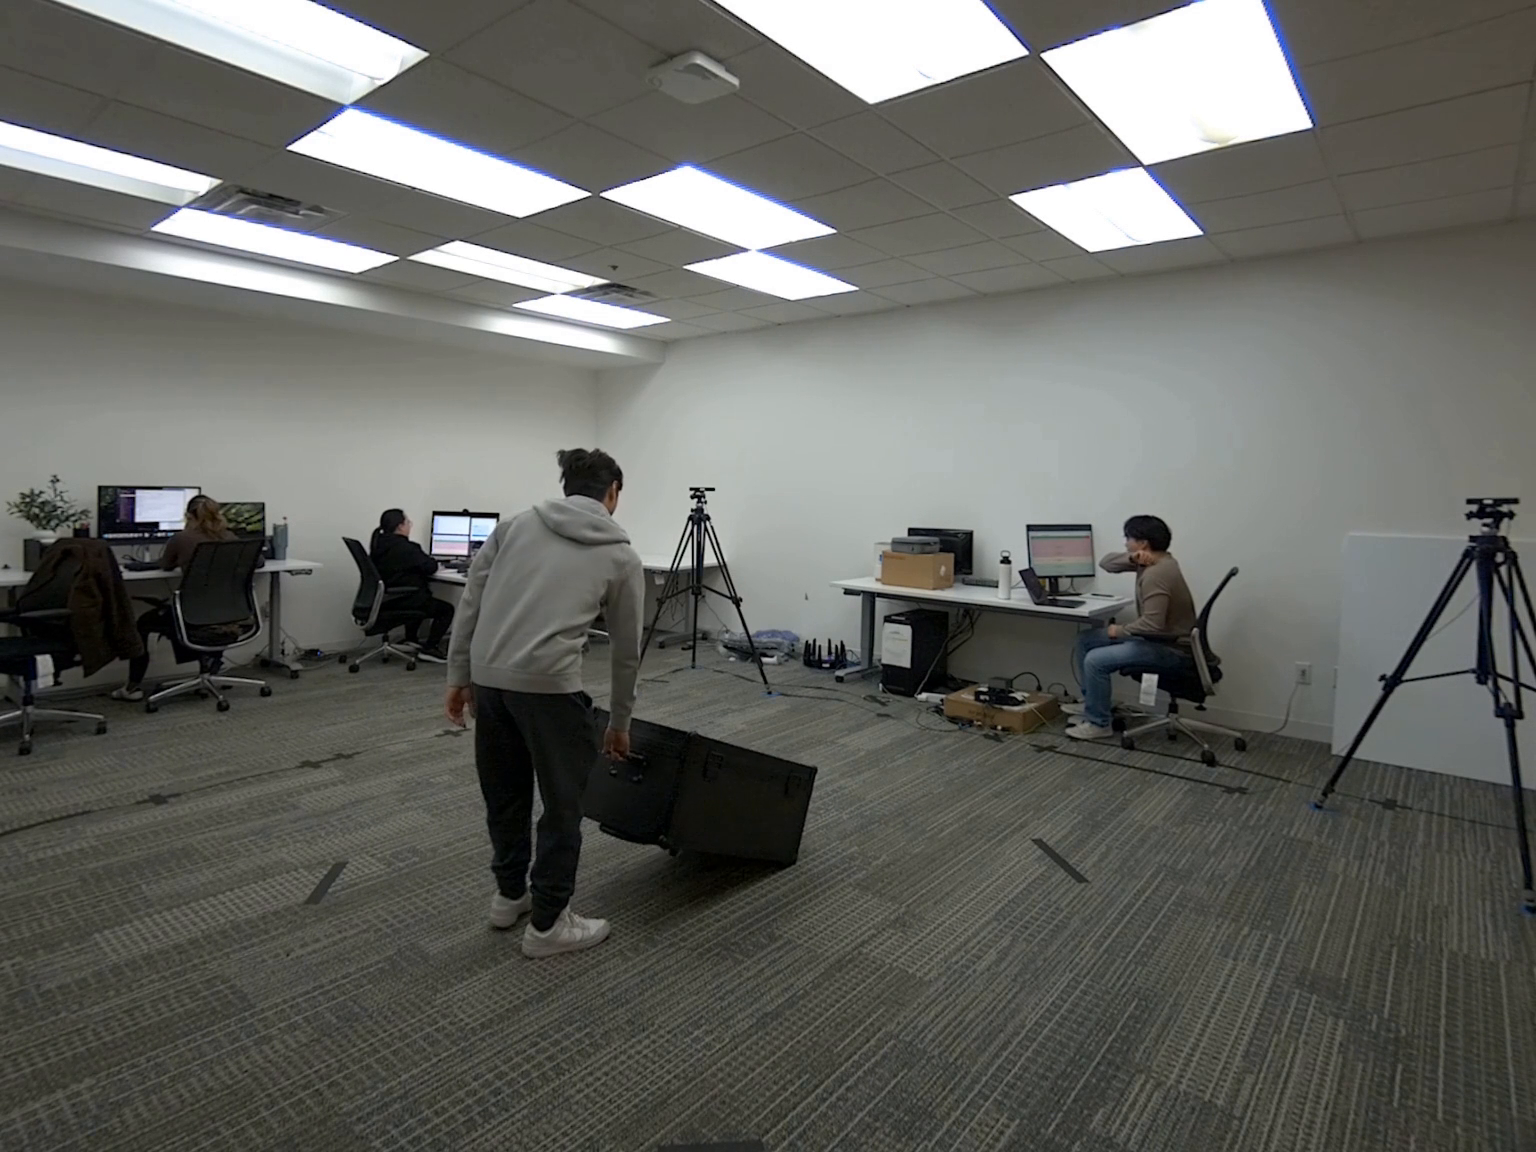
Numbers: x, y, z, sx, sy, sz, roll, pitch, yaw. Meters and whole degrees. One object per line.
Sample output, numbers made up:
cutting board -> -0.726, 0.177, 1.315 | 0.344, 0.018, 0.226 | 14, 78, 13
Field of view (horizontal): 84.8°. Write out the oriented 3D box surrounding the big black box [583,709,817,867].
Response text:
big black box -> -0.247, 0.781, 3.093 | 0.539, 0.399, 0.826 | 5, -15, 38
